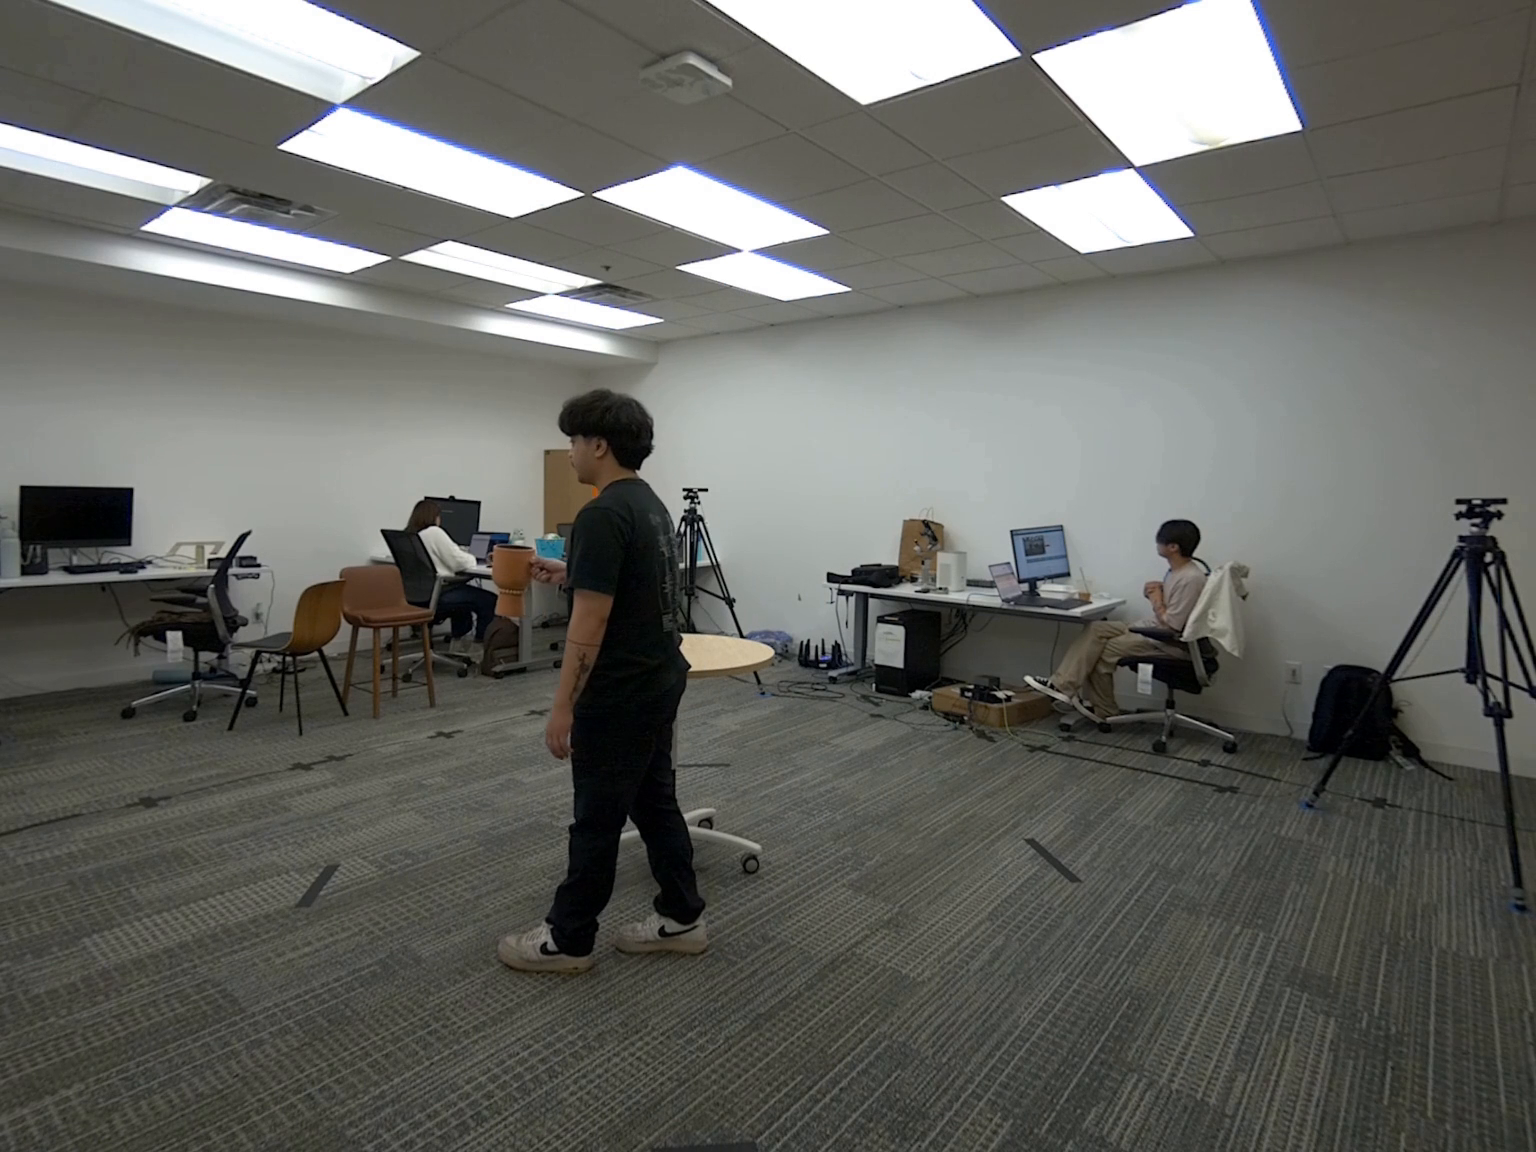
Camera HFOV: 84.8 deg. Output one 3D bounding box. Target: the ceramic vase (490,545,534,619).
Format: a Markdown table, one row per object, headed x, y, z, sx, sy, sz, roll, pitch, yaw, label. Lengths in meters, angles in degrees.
| x | y | z | sx | sy | sz | roll | pitch | yaw | label |
| --- | --- | --- | --- | --- | --- | --- | --- | --- | --- |
| -0.843 | 0.012 | 2.755 | 0.130 | 0.218 | 0.165 | 0 | 9 | -39 | ceramic vase |
